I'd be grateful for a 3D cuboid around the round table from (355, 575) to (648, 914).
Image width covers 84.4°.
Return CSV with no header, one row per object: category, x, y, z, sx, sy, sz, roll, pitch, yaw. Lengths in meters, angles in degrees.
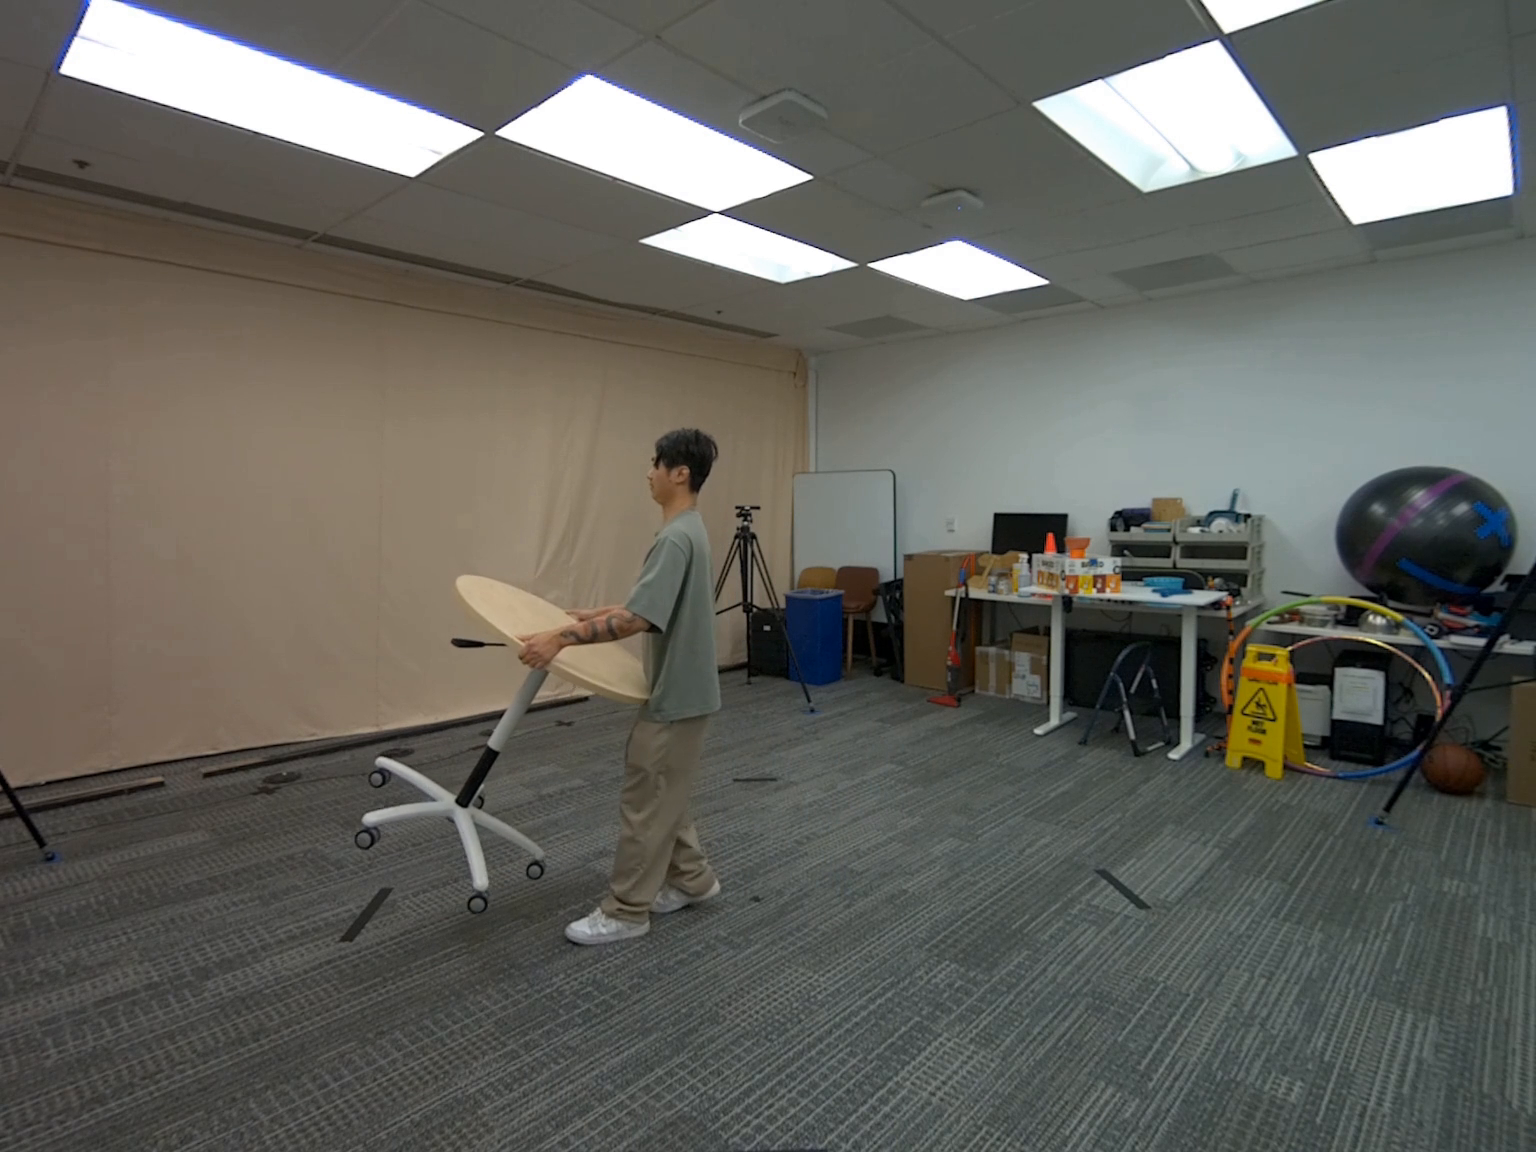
round table,-0.886,0.541,2.820,0.783,0.786,0.787,31,2,-3
